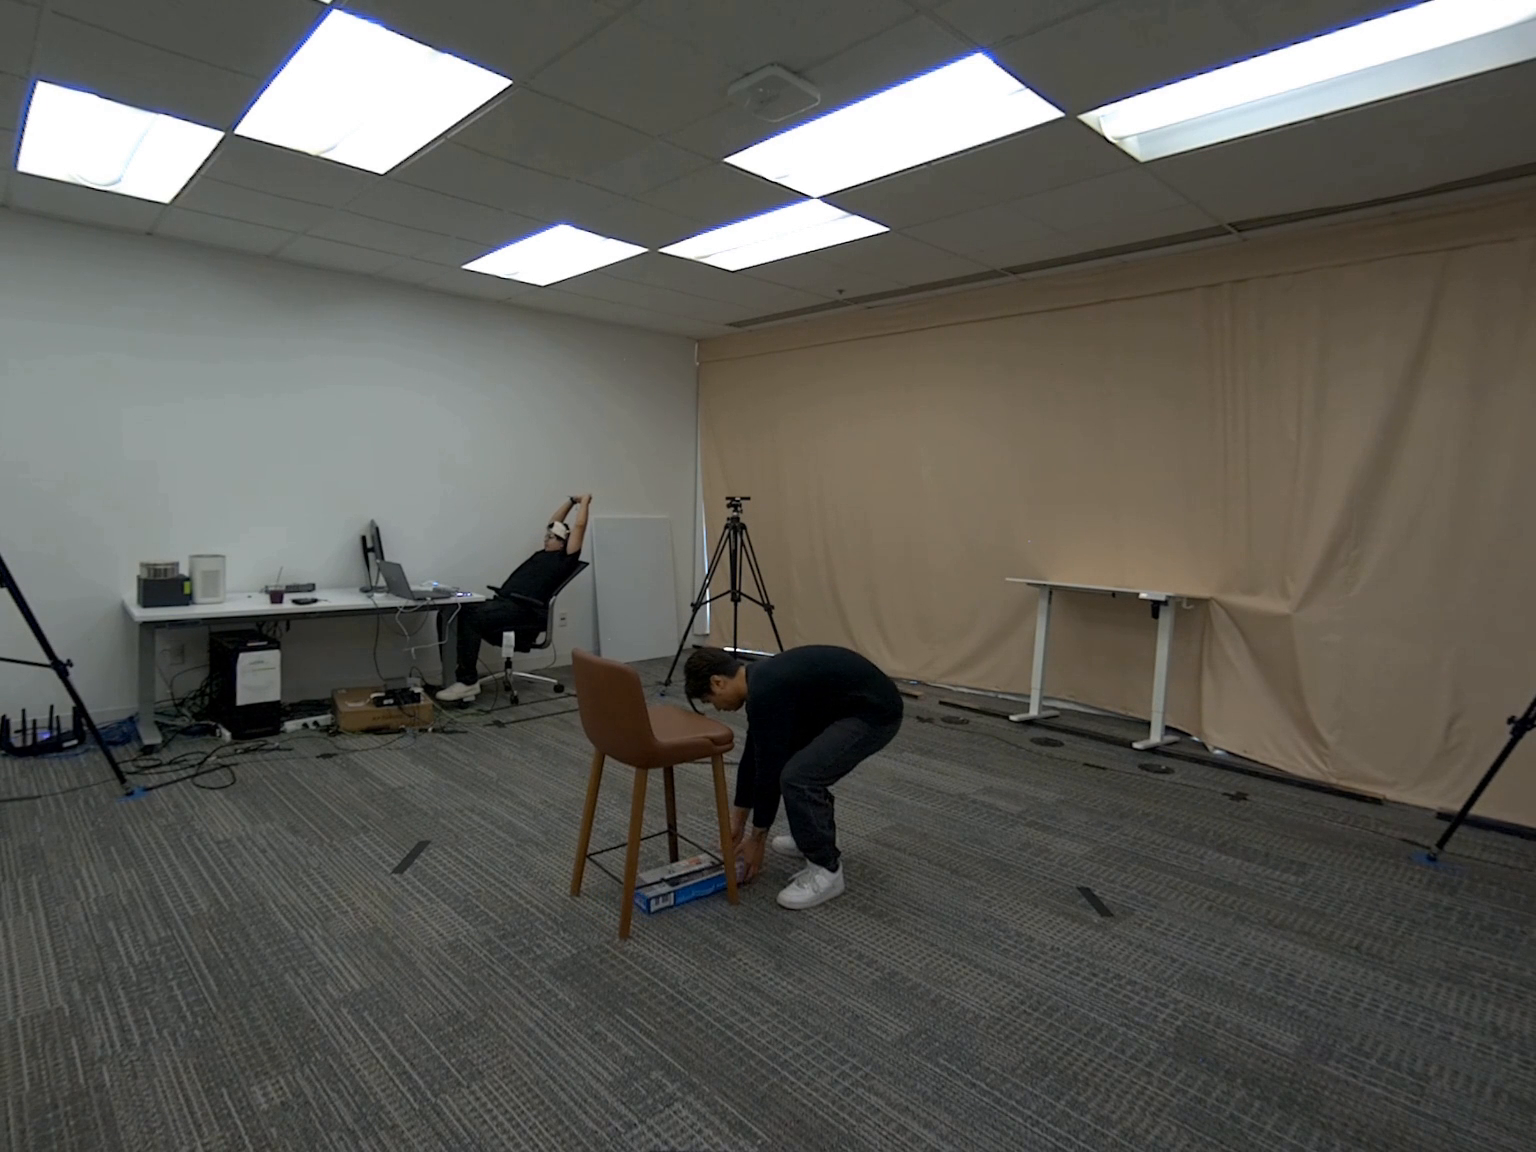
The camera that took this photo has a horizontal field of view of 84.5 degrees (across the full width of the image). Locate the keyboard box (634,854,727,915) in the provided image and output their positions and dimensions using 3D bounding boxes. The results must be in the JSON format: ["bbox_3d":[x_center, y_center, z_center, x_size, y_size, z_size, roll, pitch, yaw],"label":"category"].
[{"bbox_3d":[-0.286,1.073,2.992,0.428,0.059,0.180,-5,8,-36],"label":"keyboard box"}]
